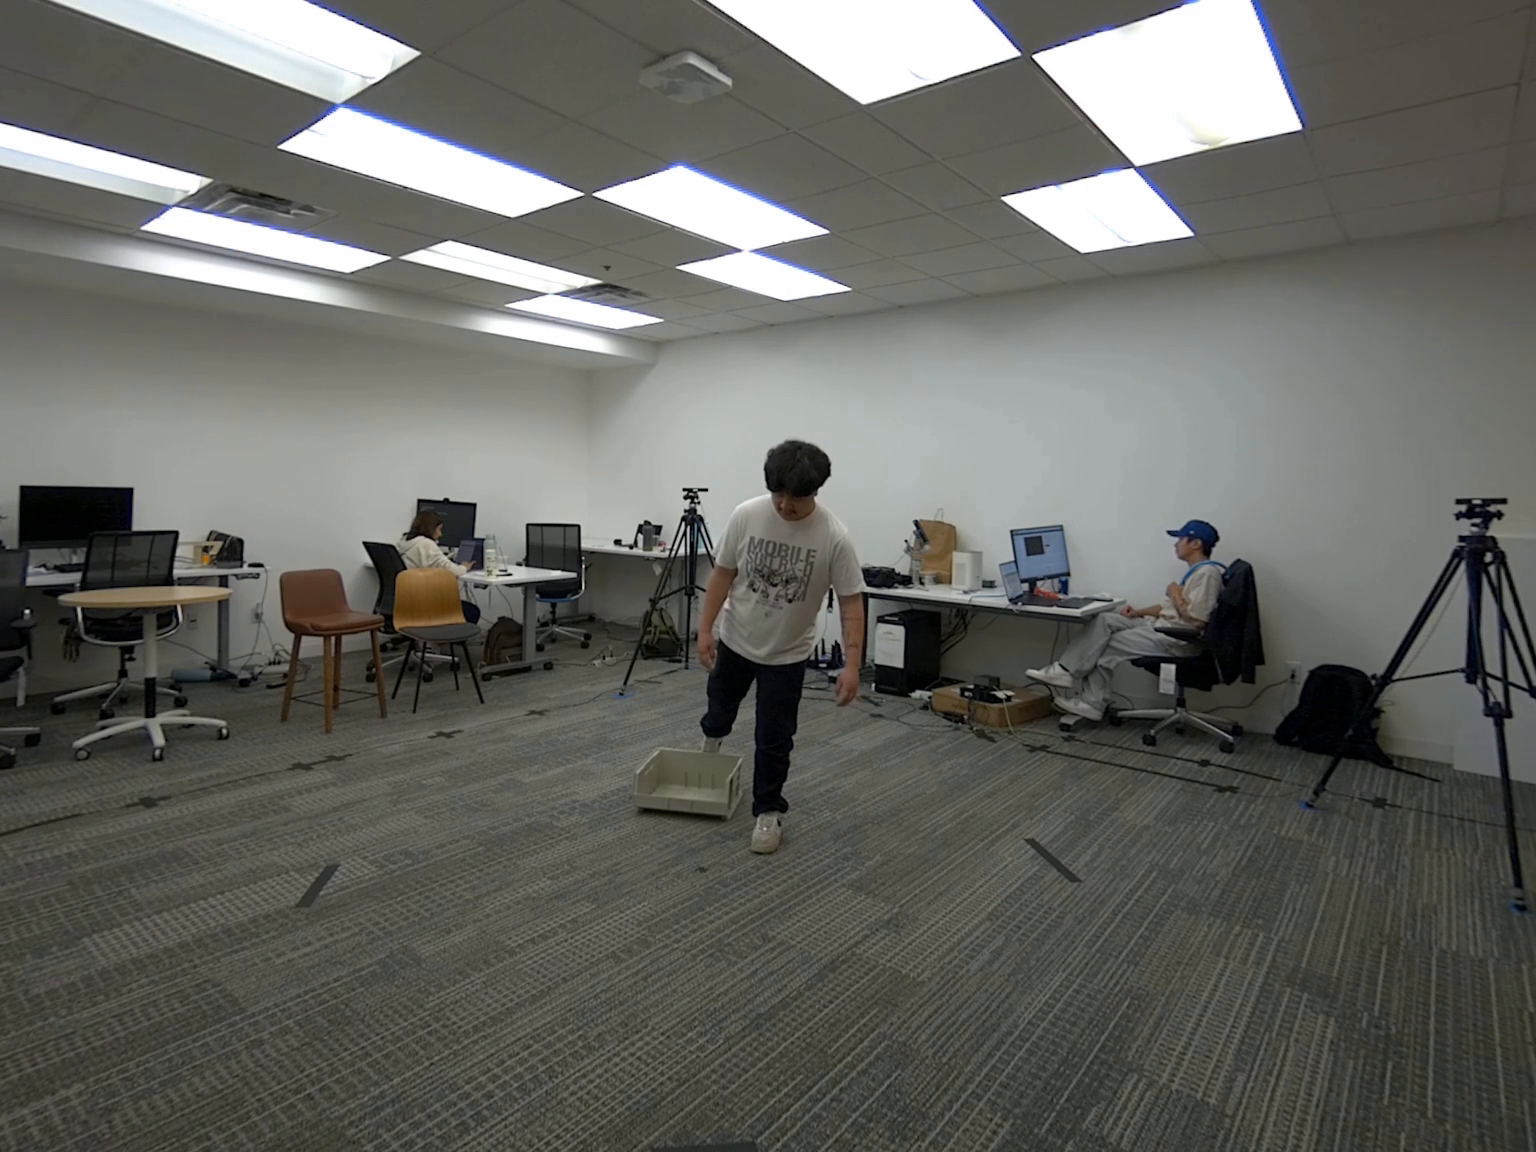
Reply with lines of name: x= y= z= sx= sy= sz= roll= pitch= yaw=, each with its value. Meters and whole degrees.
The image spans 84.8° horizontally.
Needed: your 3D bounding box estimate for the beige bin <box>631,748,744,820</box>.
beige bin: x=-0.354 y=0.915 z=3.757 sx=0.428 sy=0.188 sz=0.374 roll=2 pitch=4 yaw=10
